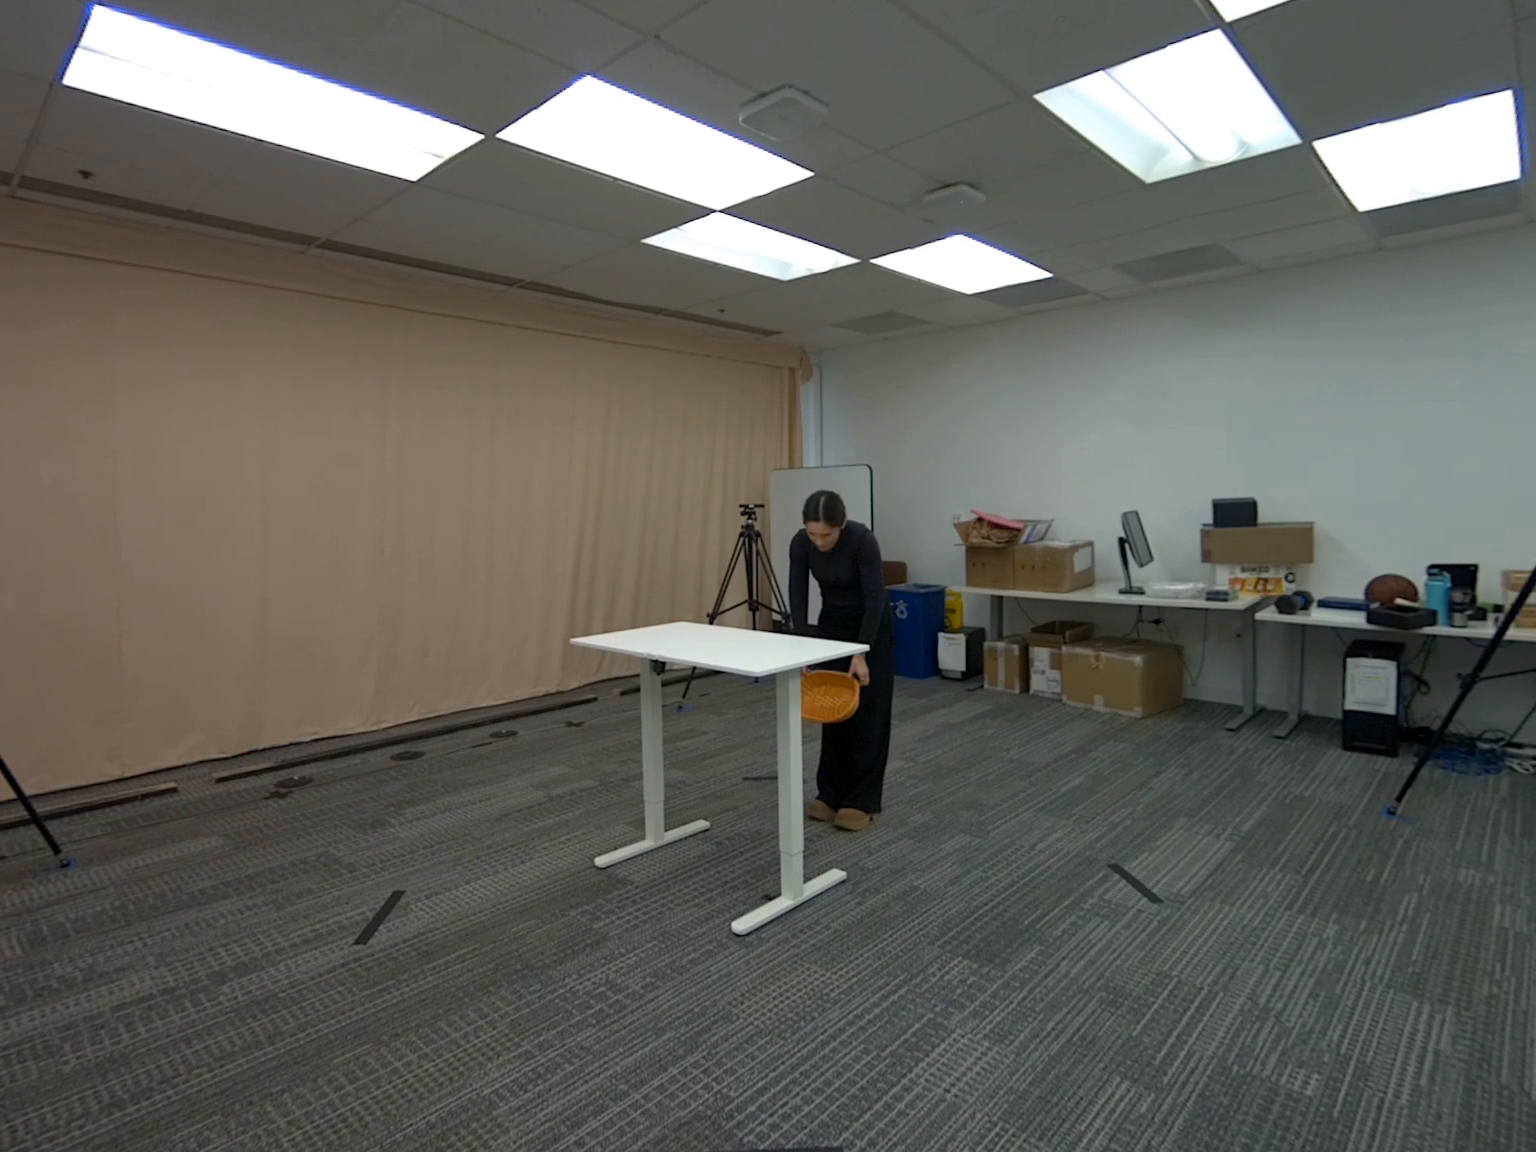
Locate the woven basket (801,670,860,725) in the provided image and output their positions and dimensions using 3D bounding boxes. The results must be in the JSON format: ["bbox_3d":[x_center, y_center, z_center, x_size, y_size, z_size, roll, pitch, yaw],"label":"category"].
[{"bbox_3d":[0.248,0.520,3.596,0.361,0.253,0.071,-2,-39,40],"label":"woven basket"}]
